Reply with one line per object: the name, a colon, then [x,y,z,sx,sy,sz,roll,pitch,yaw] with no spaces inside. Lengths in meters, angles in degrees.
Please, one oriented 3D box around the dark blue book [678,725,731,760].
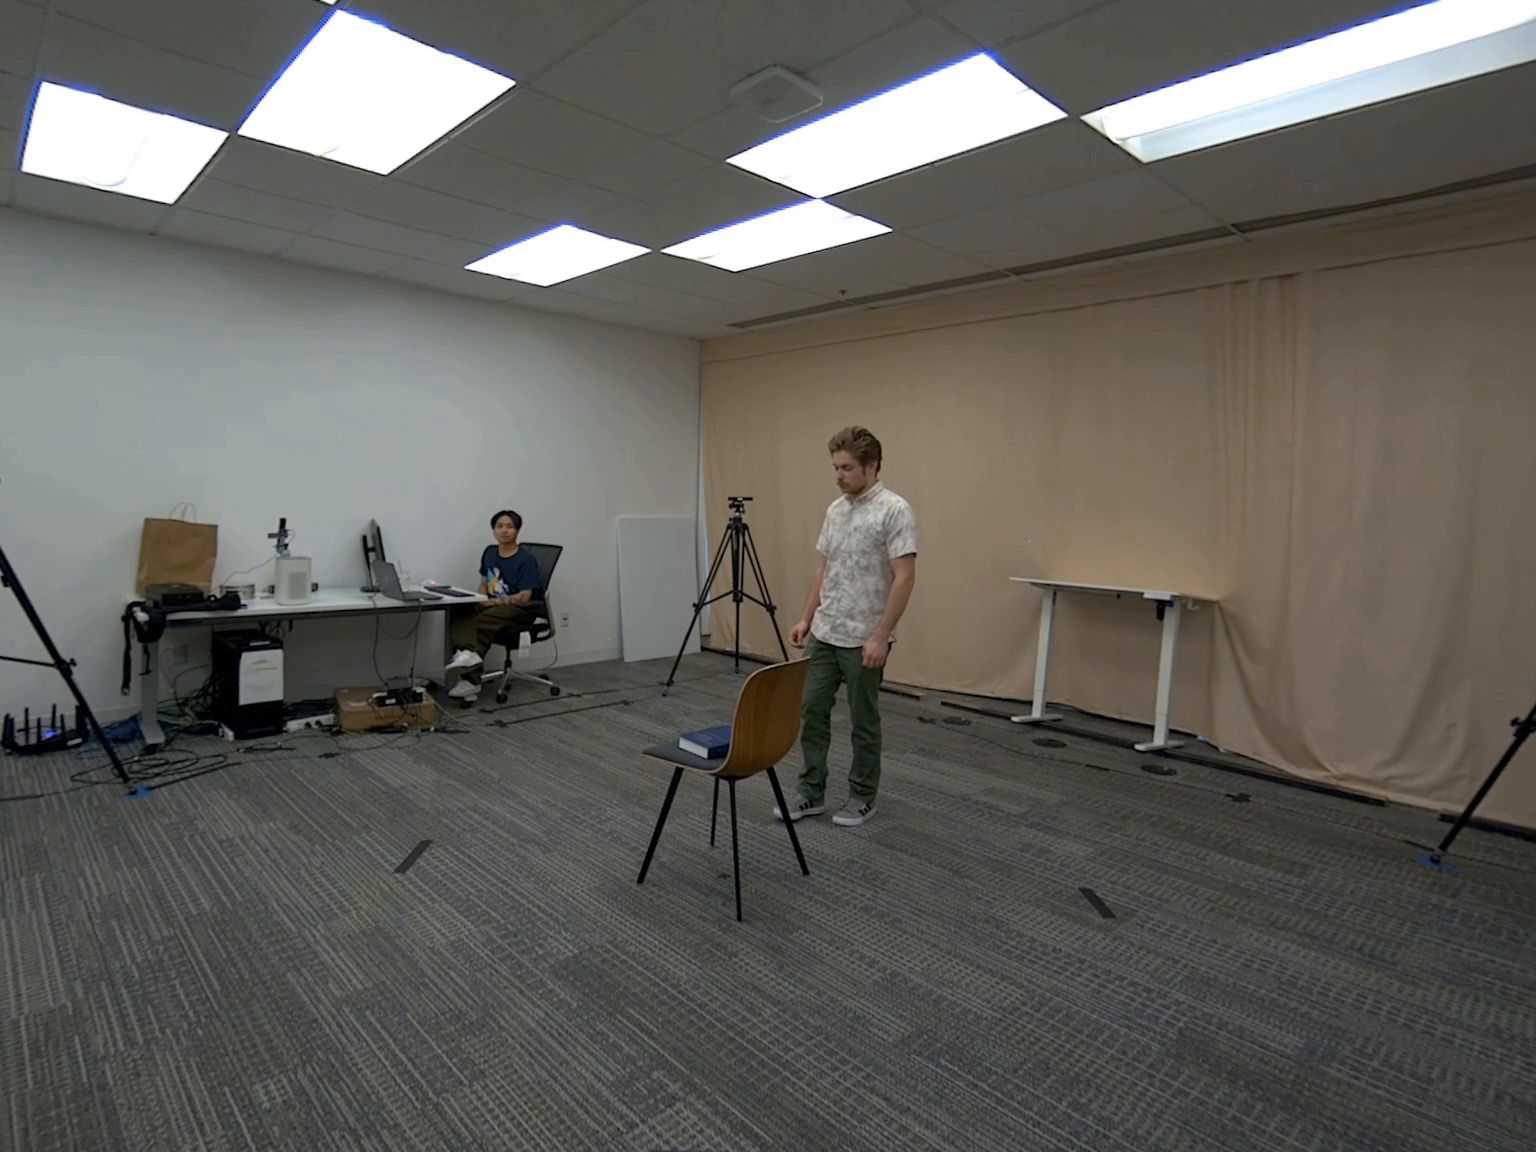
dark blue book: [-0.186,0.603,3.067,0.168,0.045,0.239,10,10,44]
